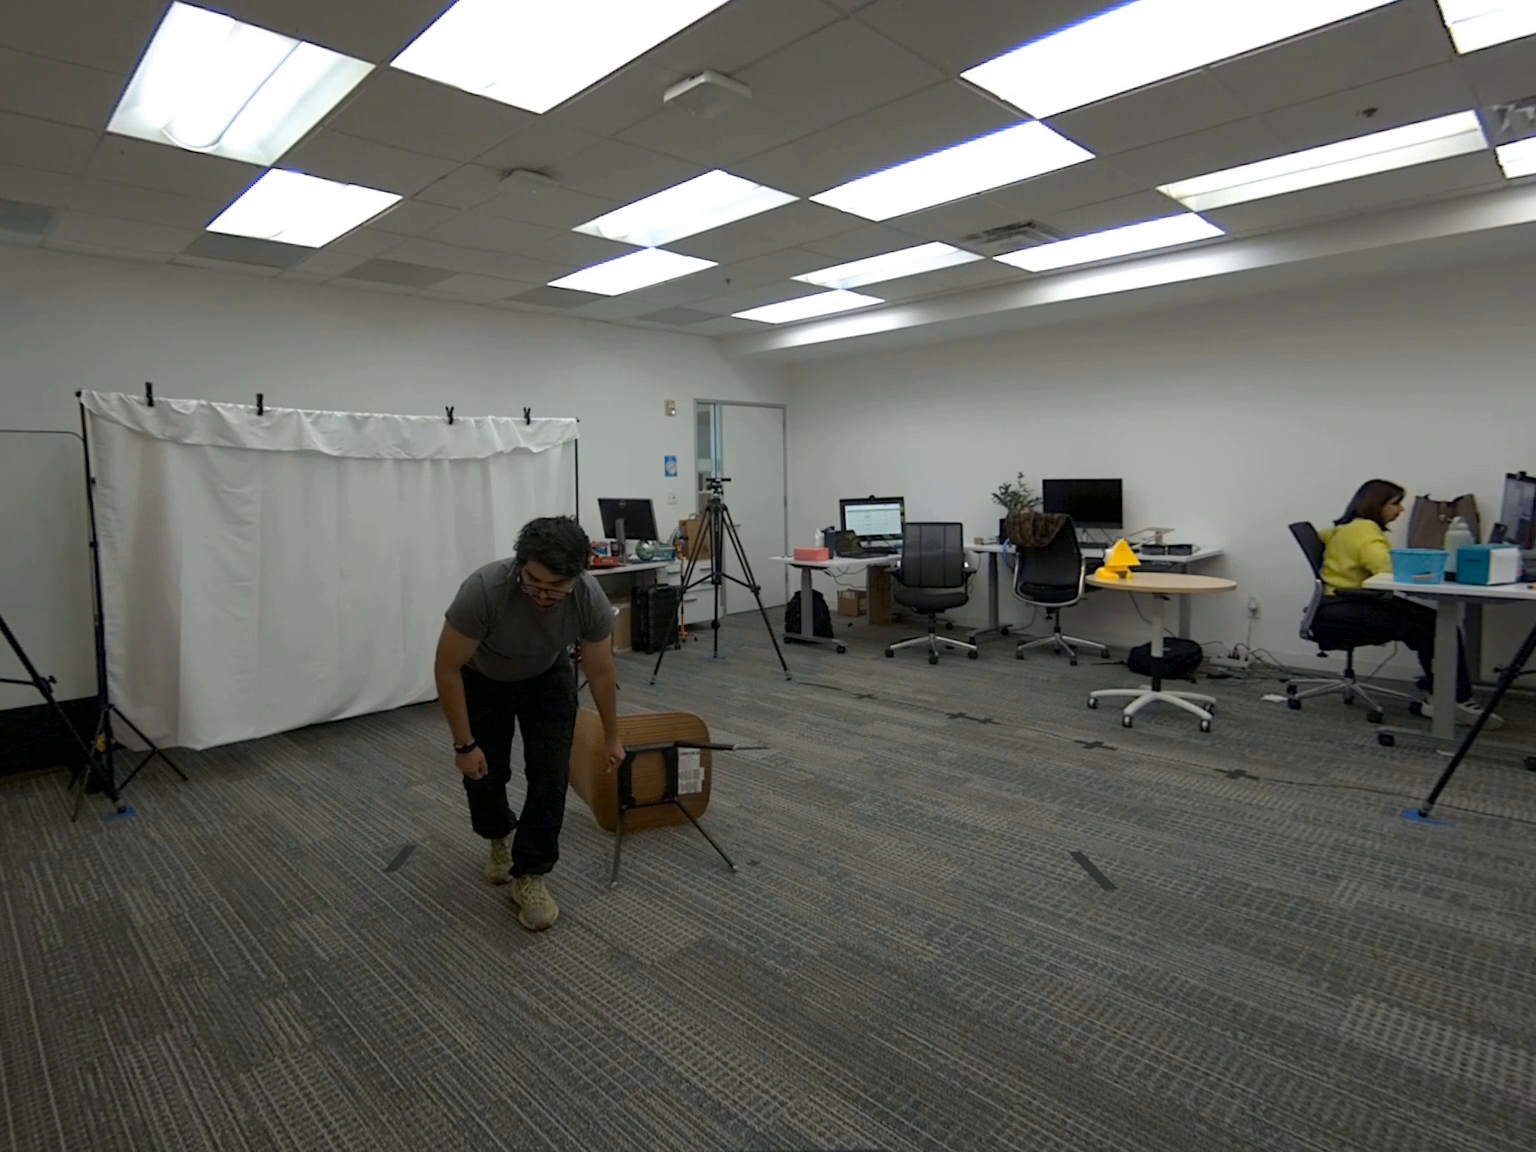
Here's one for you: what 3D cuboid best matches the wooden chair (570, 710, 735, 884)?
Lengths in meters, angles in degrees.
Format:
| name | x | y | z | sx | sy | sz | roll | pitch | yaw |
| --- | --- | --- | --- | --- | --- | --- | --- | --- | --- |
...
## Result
| name | x | y | z | sx | sy | sz | roll | pitch | yaw |
| --- | --- | --- | --- | --- | --- | --- | --- | --- | --- |
| wooden chair | -0.462 | 0.791 | 3.359 | 0.512 | 0.476 | 0.898 | -2 | 5 | -24 |
